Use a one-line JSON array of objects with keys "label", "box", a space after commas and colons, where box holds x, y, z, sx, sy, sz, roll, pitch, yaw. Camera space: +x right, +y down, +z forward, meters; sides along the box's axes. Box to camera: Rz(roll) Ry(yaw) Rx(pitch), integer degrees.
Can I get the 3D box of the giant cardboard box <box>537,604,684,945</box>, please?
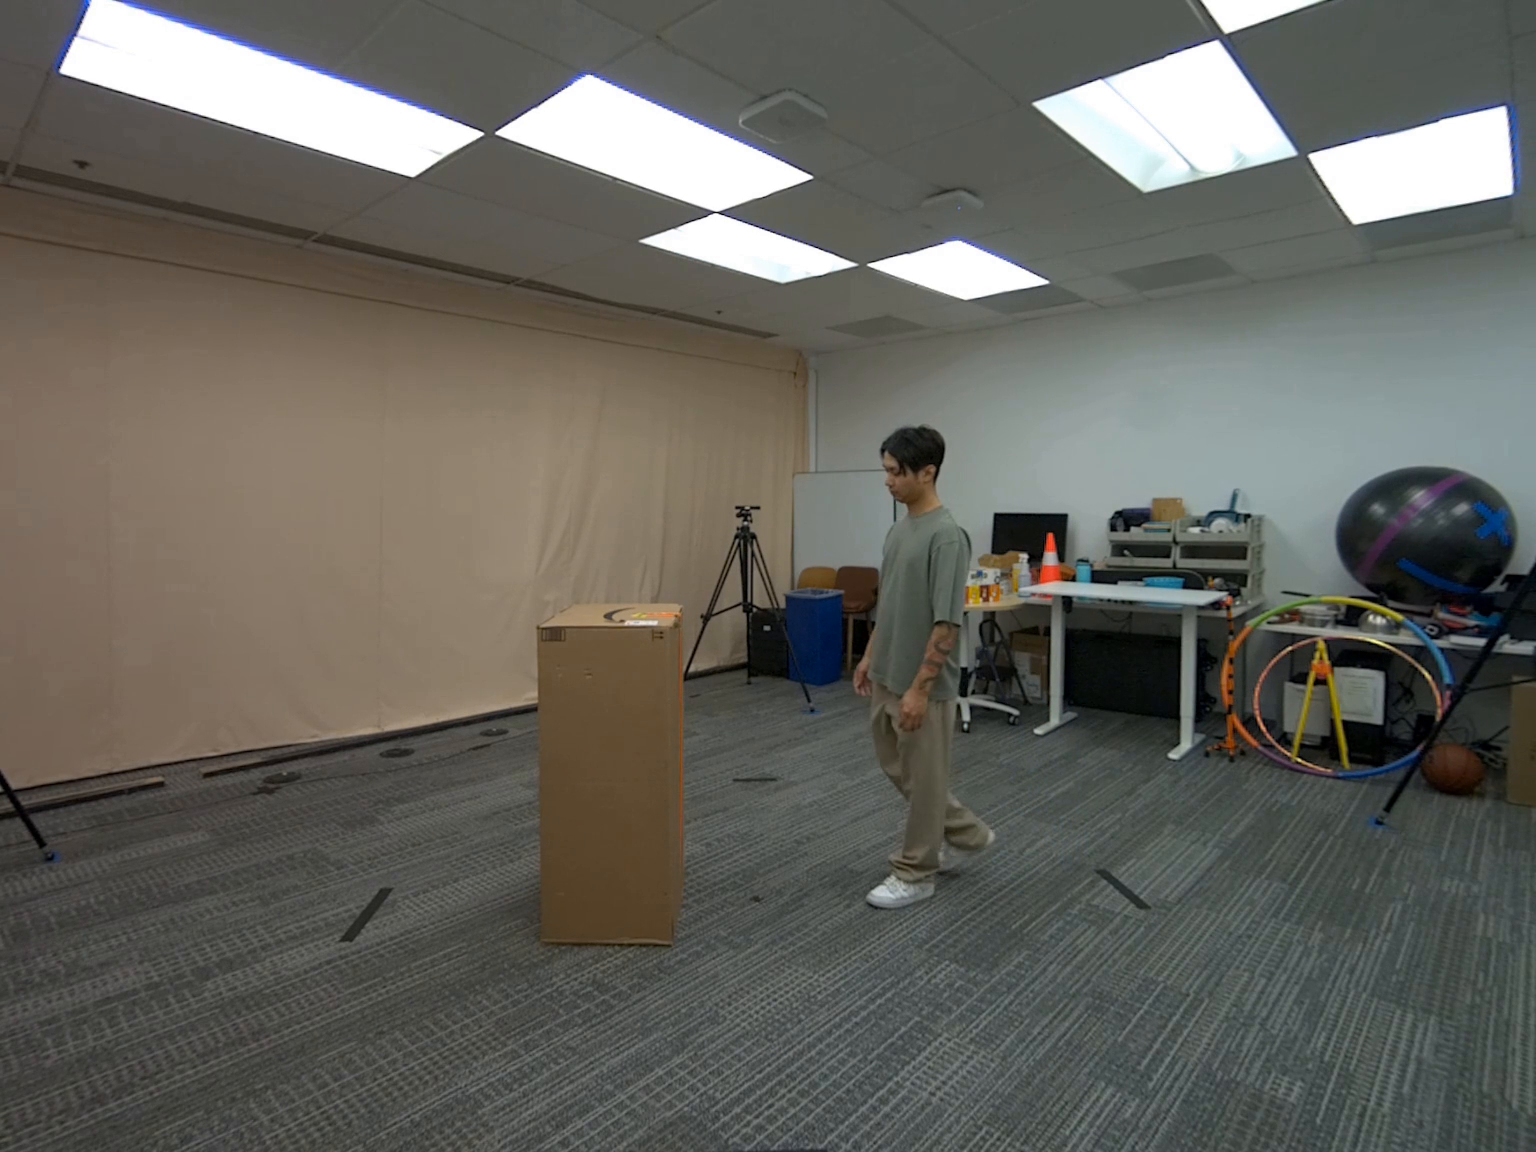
[{"label": "giant cardboard box", "box": [-0.522, 0.645, 2.937, 0.426, 1.024, 0.578, 0, 3, -1]}]
